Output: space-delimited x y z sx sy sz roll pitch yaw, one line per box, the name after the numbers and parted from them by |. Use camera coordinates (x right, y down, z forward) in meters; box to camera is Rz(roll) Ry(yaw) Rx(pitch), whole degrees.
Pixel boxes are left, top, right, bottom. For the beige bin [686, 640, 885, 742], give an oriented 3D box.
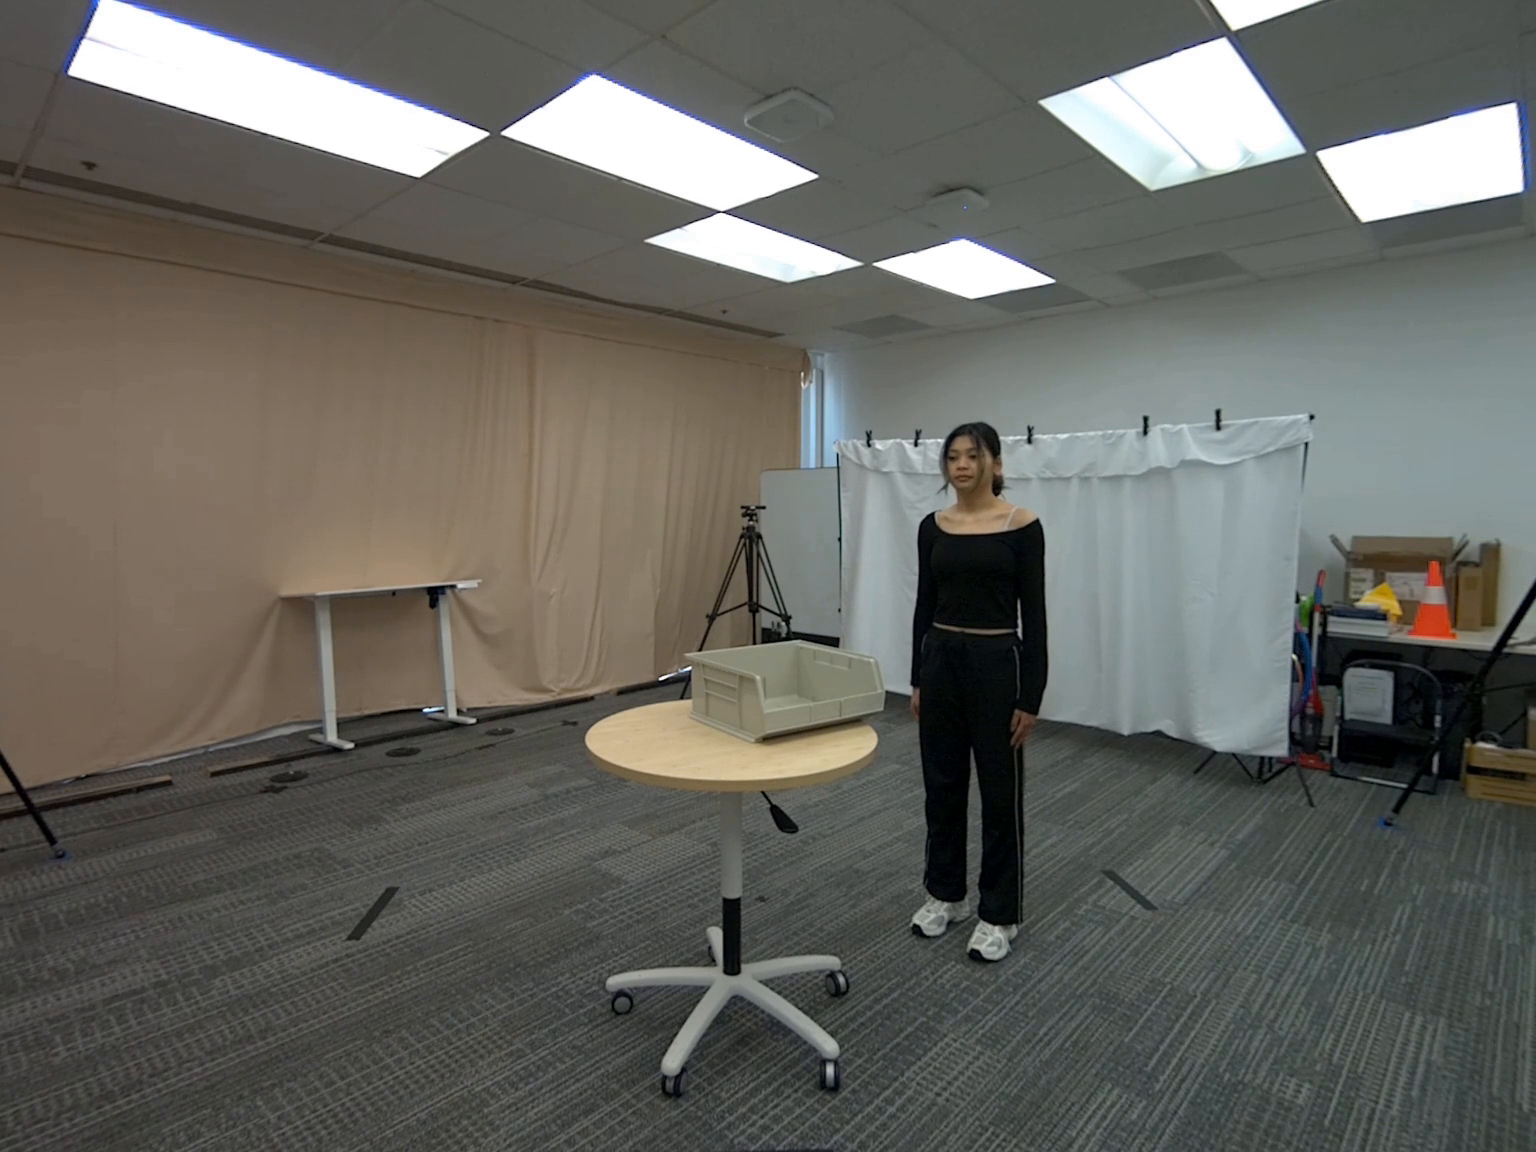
0.051 0.316 2.348 0.410 0.188 0.389 -4 5 -35 | beige bin
